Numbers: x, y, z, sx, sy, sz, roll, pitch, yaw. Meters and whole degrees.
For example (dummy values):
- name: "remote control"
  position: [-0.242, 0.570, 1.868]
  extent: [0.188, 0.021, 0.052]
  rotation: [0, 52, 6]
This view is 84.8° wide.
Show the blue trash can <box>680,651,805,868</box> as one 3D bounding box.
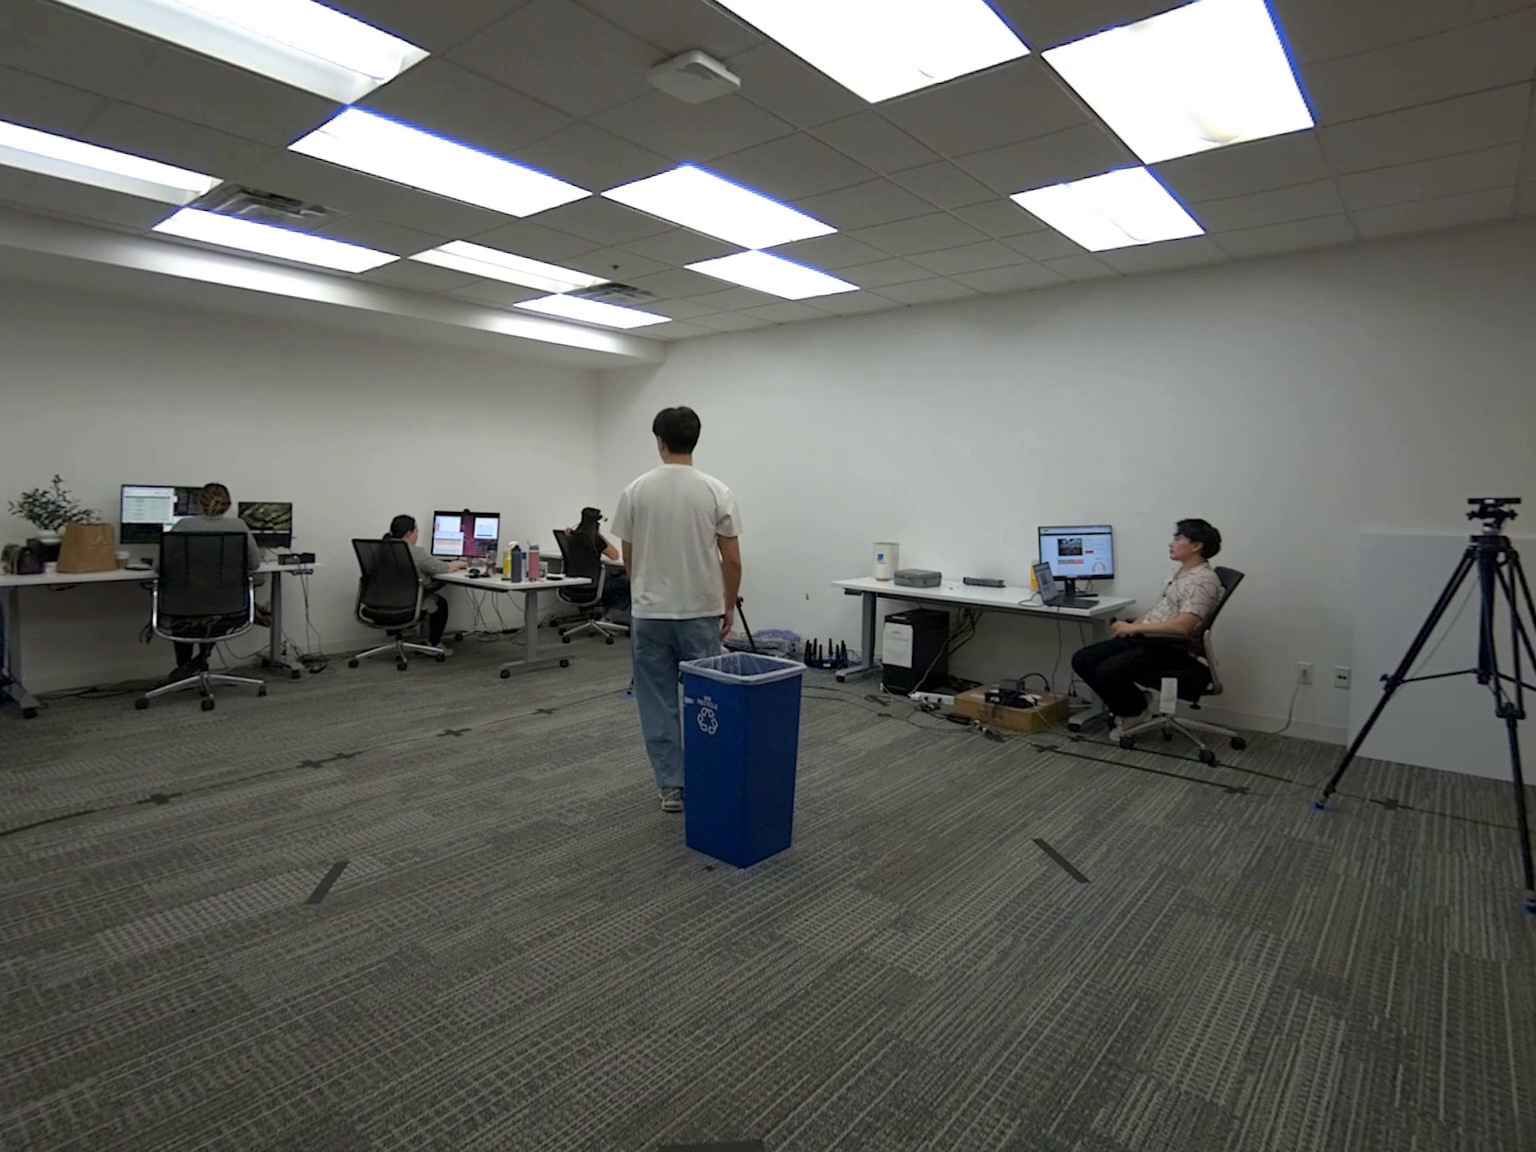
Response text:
- name: "blue trash can"
  position: [-0.106, 0.690, 3.292]
  extent: [0.386, 0.711, 0.367]
  rotation: [3, 4, 40]
